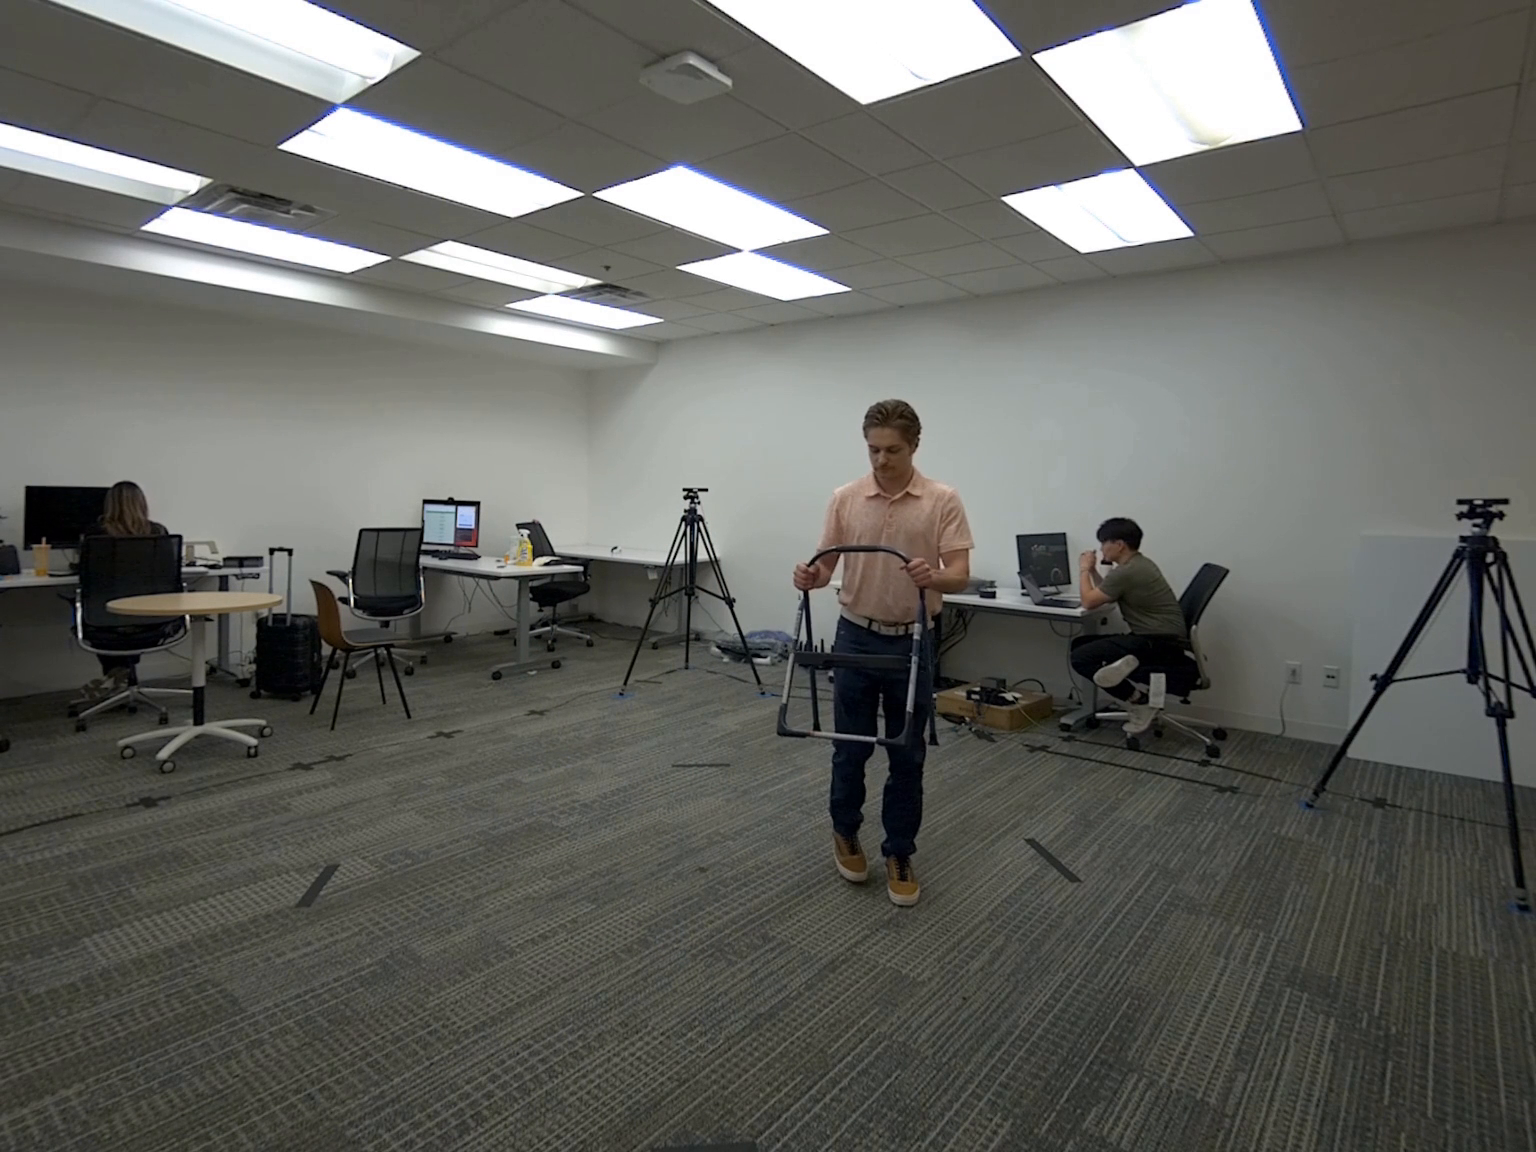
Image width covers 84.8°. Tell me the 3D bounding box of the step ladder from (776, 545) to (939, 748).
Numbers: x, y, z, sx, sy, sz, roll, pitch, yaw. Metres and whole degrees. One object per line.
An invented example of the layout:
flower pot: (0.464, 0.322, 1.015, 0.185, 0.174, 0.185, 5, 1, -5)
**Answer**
step ladder: (0.289, 0.214, 2.715, 0.441, 0.611, 0.338, -1, -9, 26)
